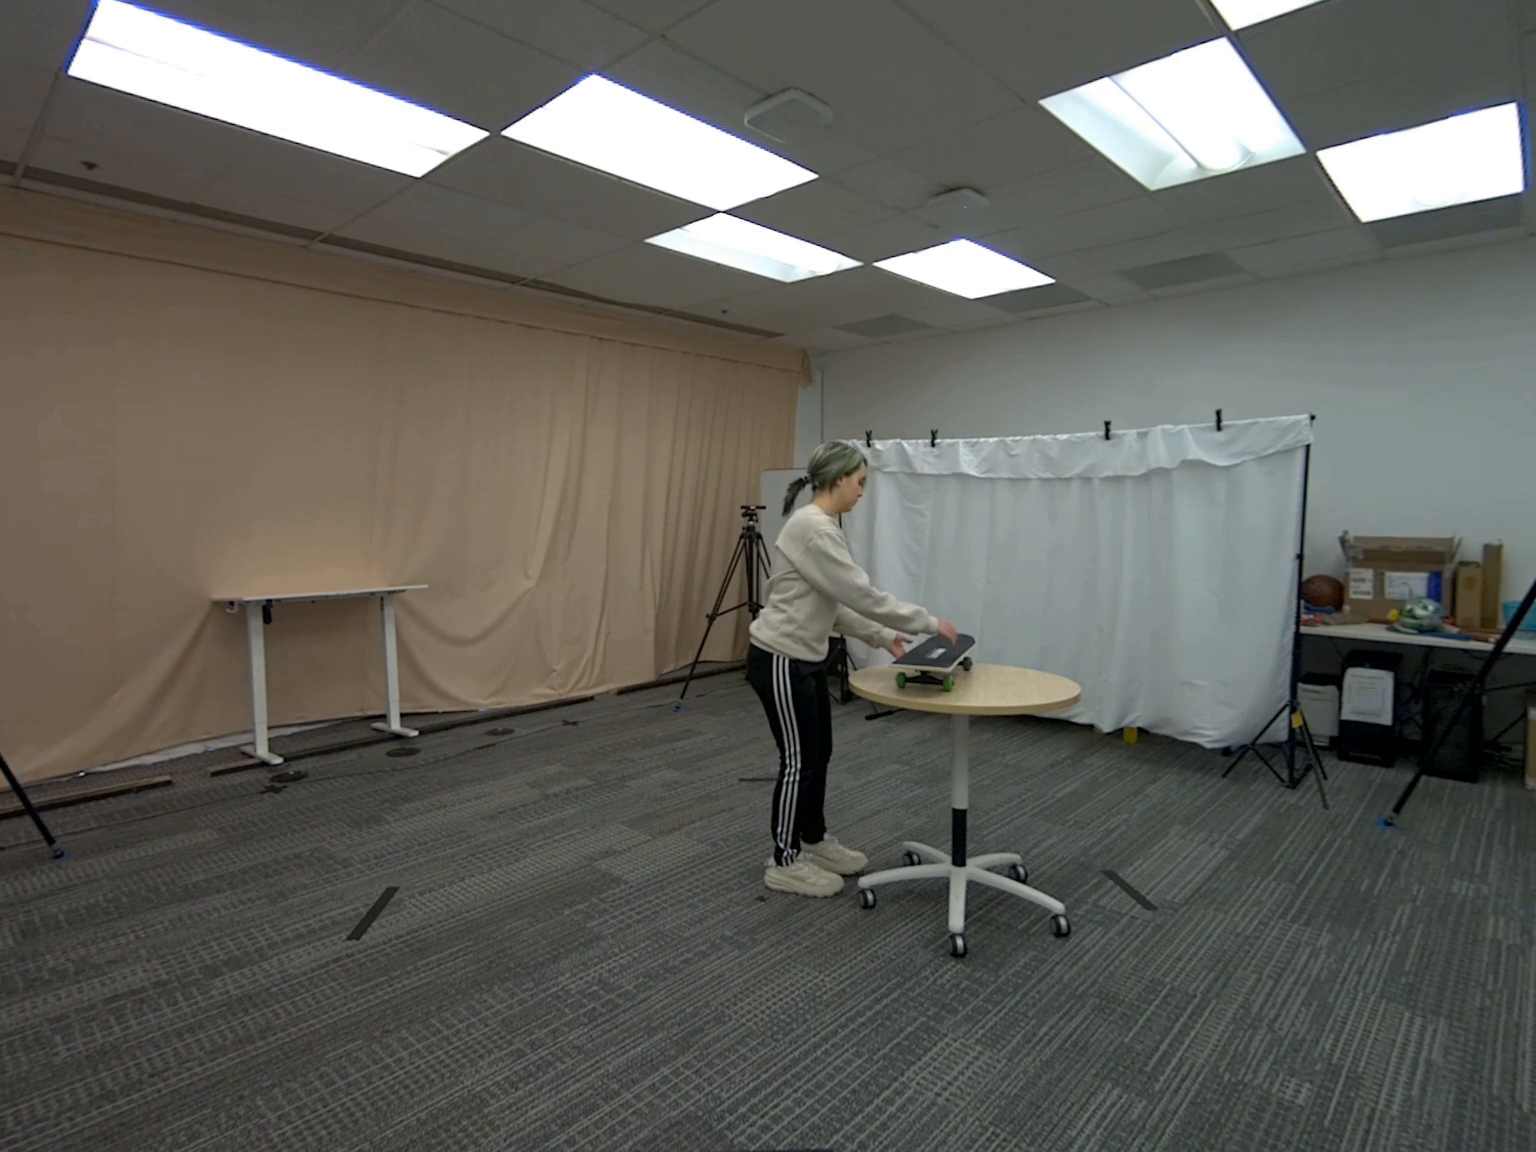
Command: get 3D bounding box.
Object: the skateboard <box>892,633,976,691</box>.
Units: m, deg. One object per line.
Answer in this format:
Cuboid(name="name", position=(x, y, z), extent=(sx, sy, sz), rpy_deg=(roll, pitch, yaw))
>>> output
Cuboid(name="skateboard", position=(0.601, 0.312, 2.954), extent=(0.198, 0.110, 0.768), rpy_deg=(1, 5, 23))
